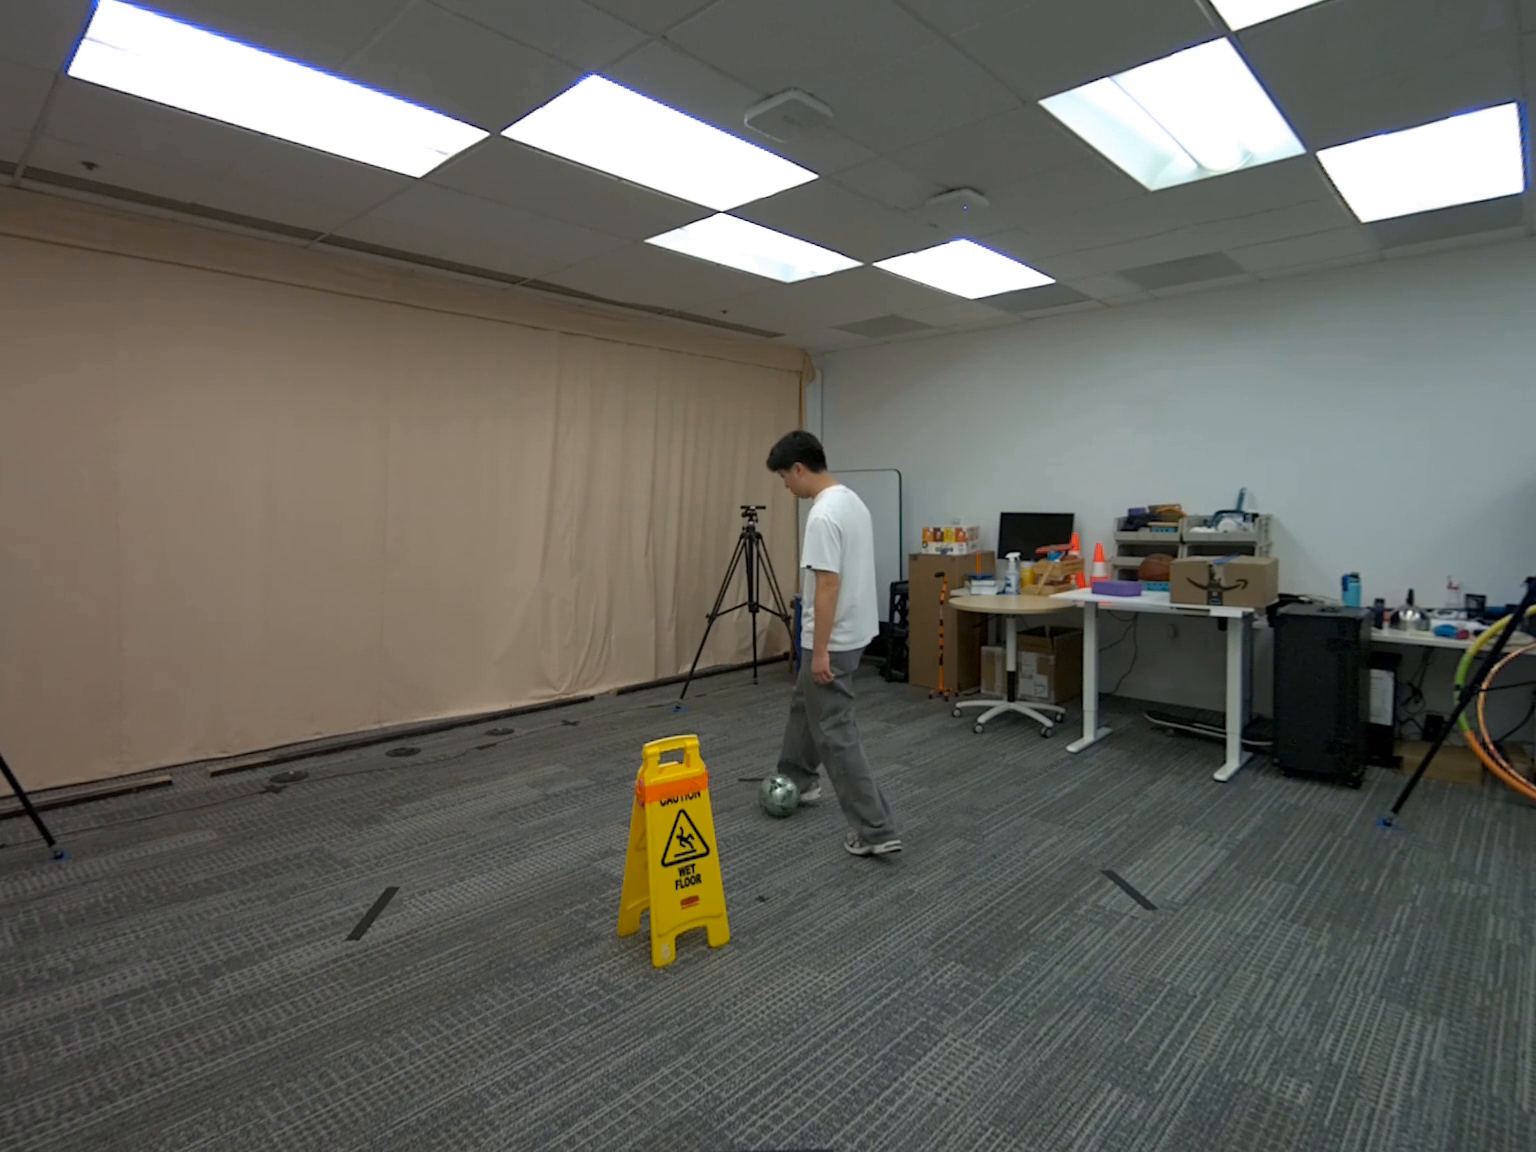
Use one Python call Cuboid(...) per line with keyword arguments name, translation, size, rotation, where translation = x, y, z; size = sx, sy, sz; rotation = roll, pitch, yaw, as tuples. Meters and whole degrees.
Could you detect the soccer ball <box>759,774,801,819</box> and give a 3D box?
Cuboid(name="soccer ball", translation=(0.051, 0.986, 3.776), size=(0.187, 0.187, 0.188), rotation=(0, 4, -2))
